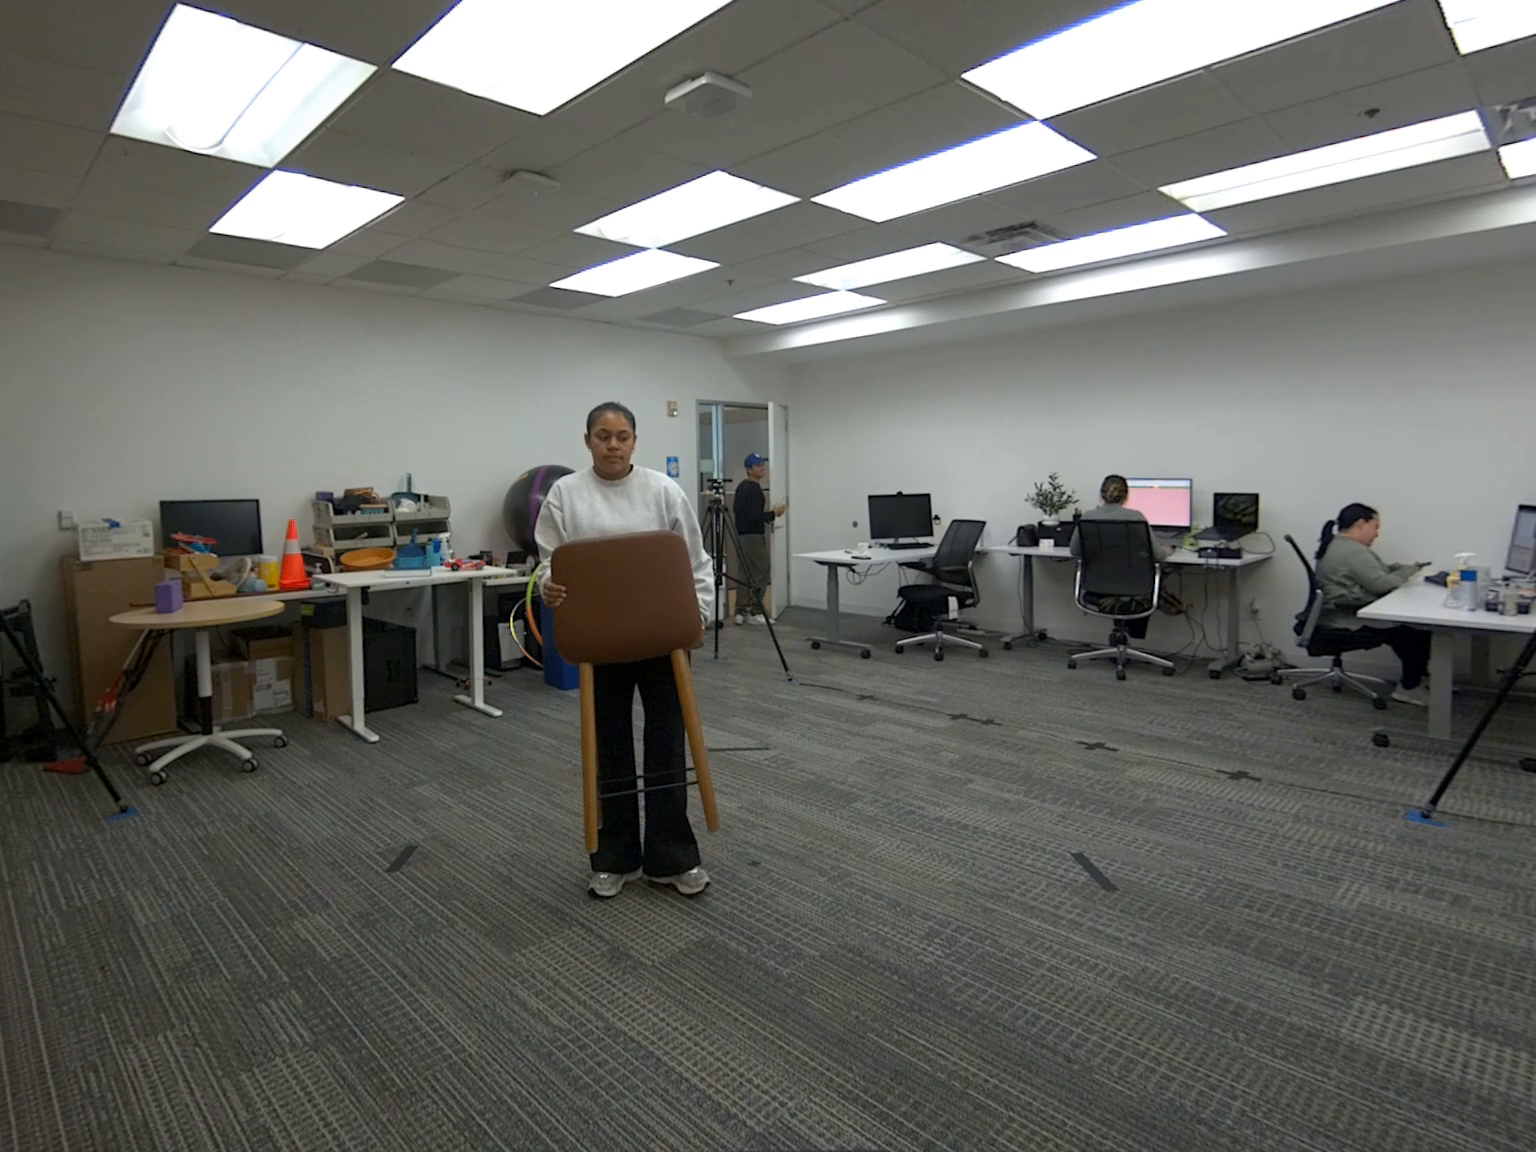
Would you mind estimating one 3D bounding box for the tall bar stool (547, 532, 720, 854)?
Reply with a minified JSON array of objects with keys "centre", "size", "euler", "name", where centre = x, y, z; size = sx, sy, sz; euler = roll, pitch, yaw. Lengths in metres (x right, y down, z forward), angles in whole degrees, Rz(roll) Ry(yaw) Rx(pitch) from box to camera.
[{"centre":[-0.418,0.357,2.658],"size":[0.454,0.897,0.466],"euler":[-9,-7,-6],"name":"tall bar stool"}]
